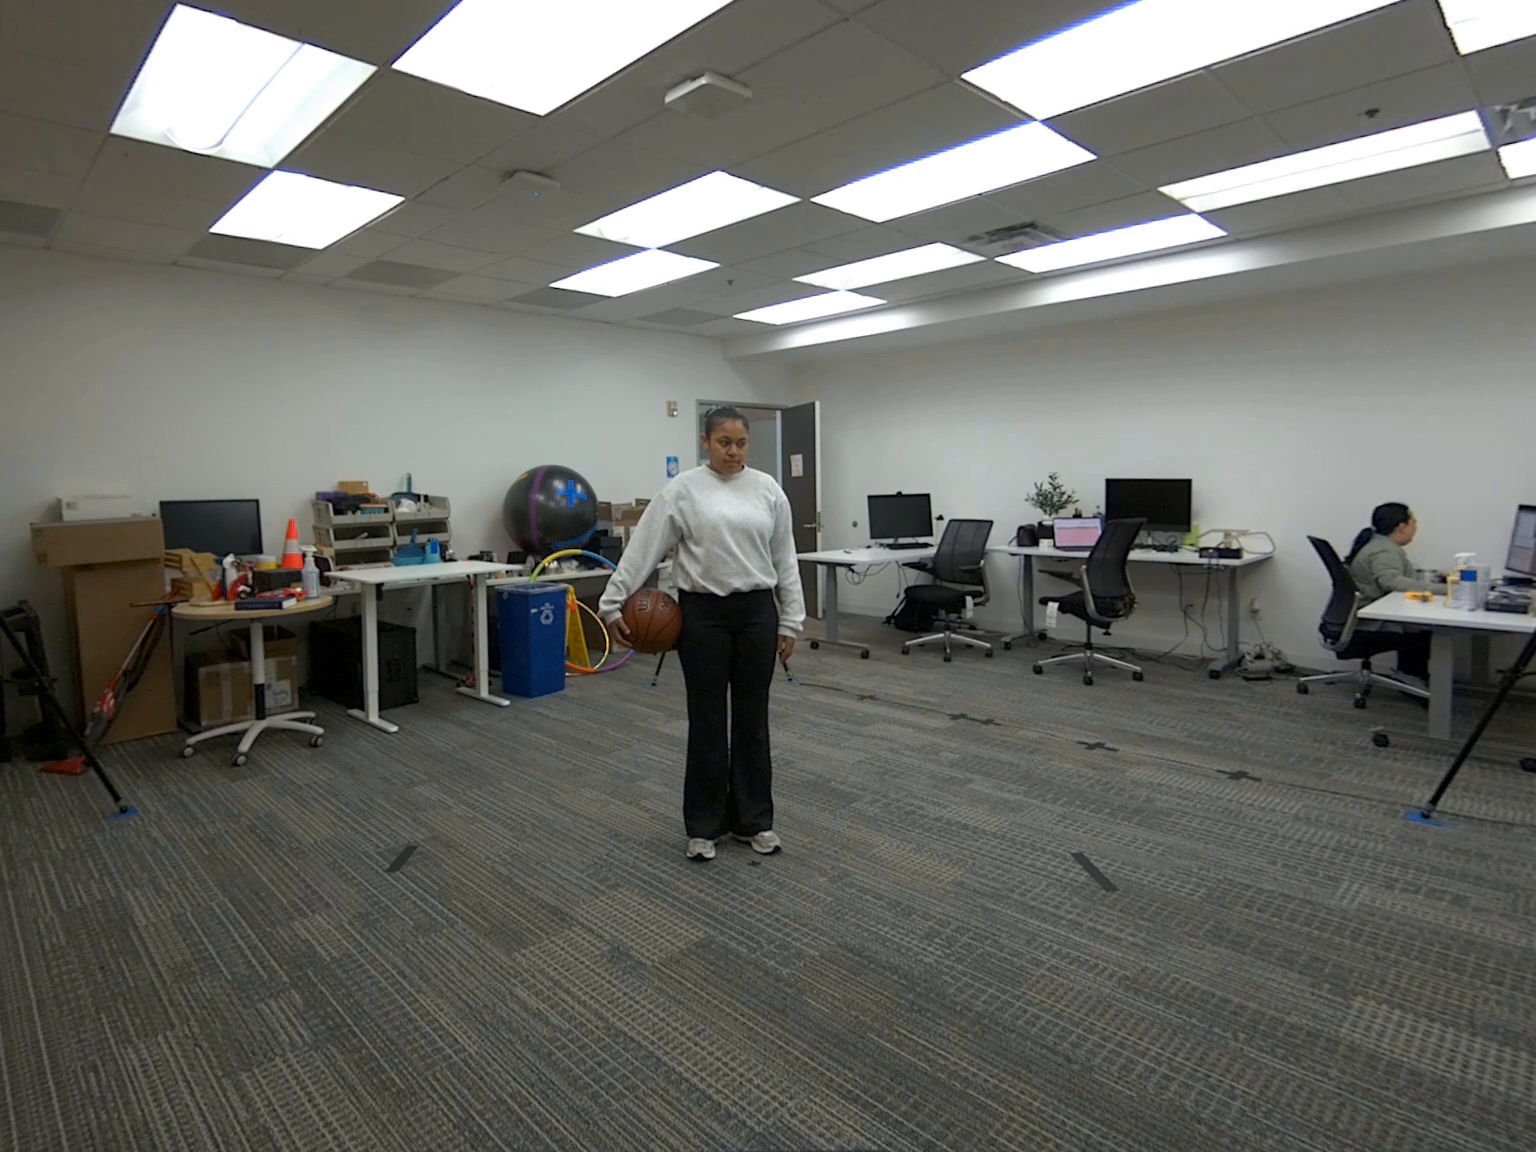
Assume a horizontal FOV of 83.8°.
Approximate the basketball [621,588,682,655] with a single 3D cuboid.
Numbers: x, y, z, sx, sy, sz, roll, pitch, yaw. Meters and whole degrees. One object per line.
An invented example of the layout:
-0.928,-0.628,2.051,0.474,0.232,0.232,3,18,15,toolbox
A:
-0.429,0.160,3.110,0.236,0.235,0.237,-1,5,-2,basketball
